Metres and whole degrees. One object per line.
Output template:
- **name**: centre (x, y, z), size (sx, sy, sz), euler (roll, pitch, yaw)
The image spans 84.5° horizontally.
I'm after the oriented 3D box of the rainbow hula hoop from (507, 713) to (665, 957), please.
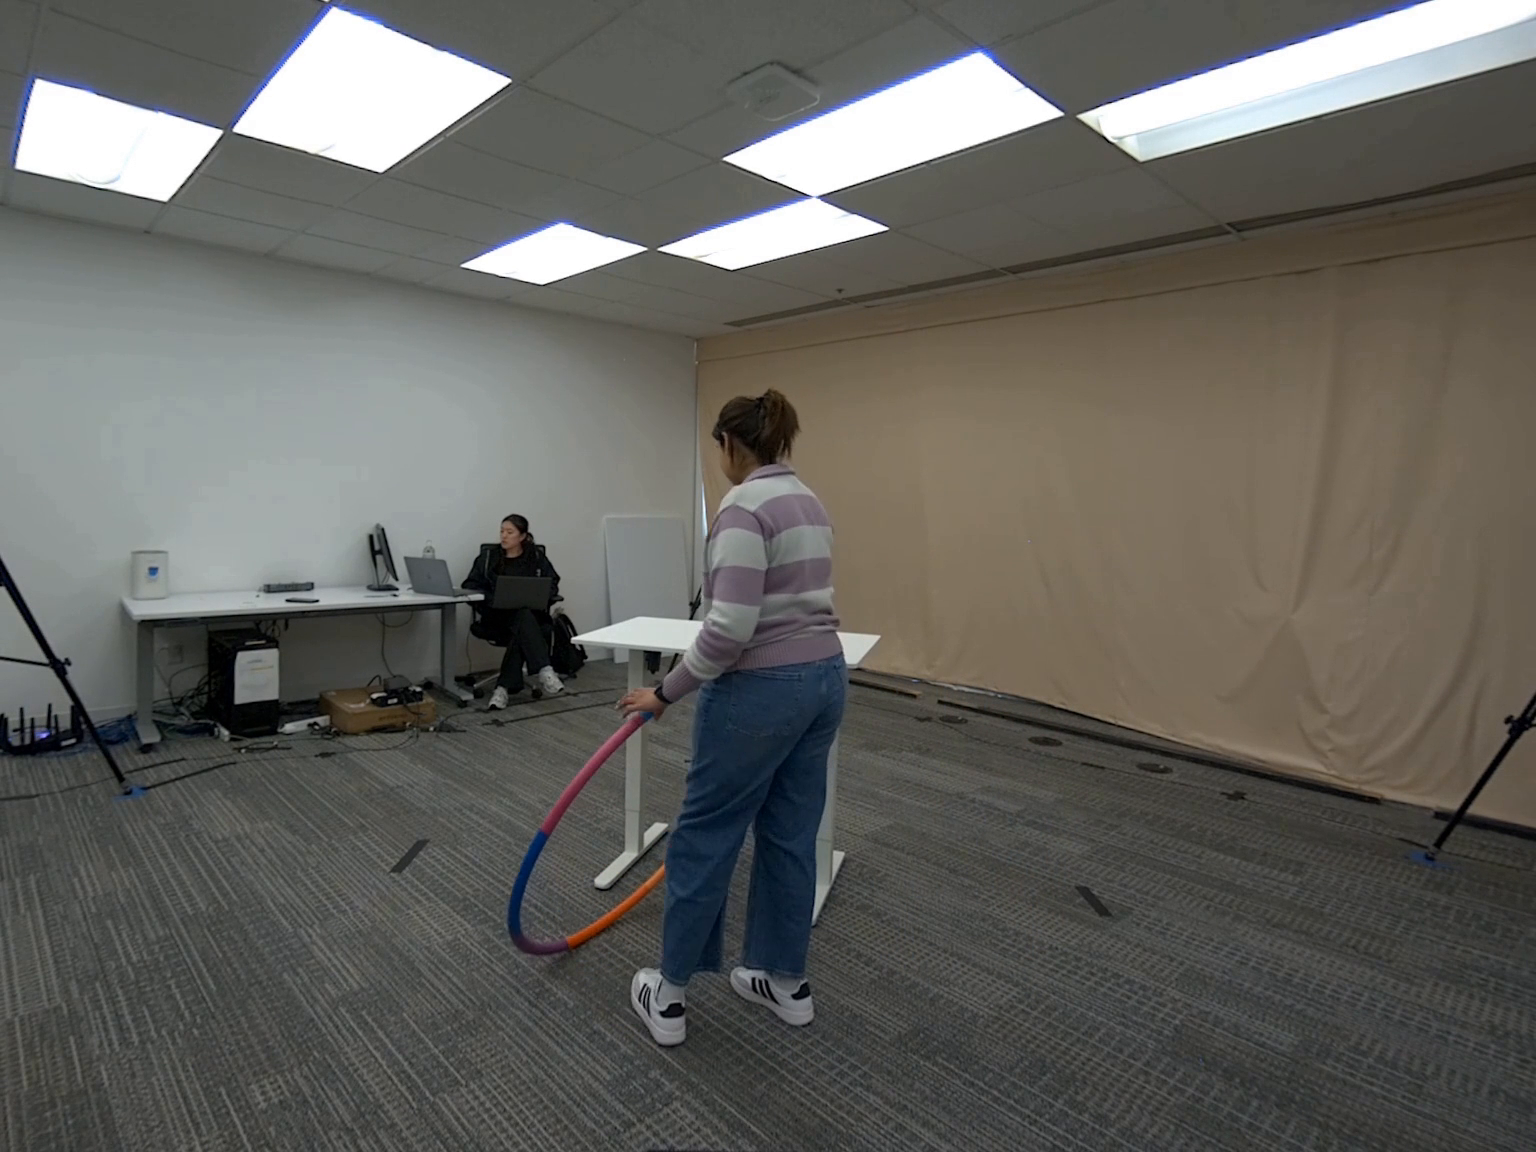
- **rainbow hula hoop**: centre (-0.367, 0.712, 2.499), size (0.036, 0.973, 0.959), euler (34, 20, 26)
